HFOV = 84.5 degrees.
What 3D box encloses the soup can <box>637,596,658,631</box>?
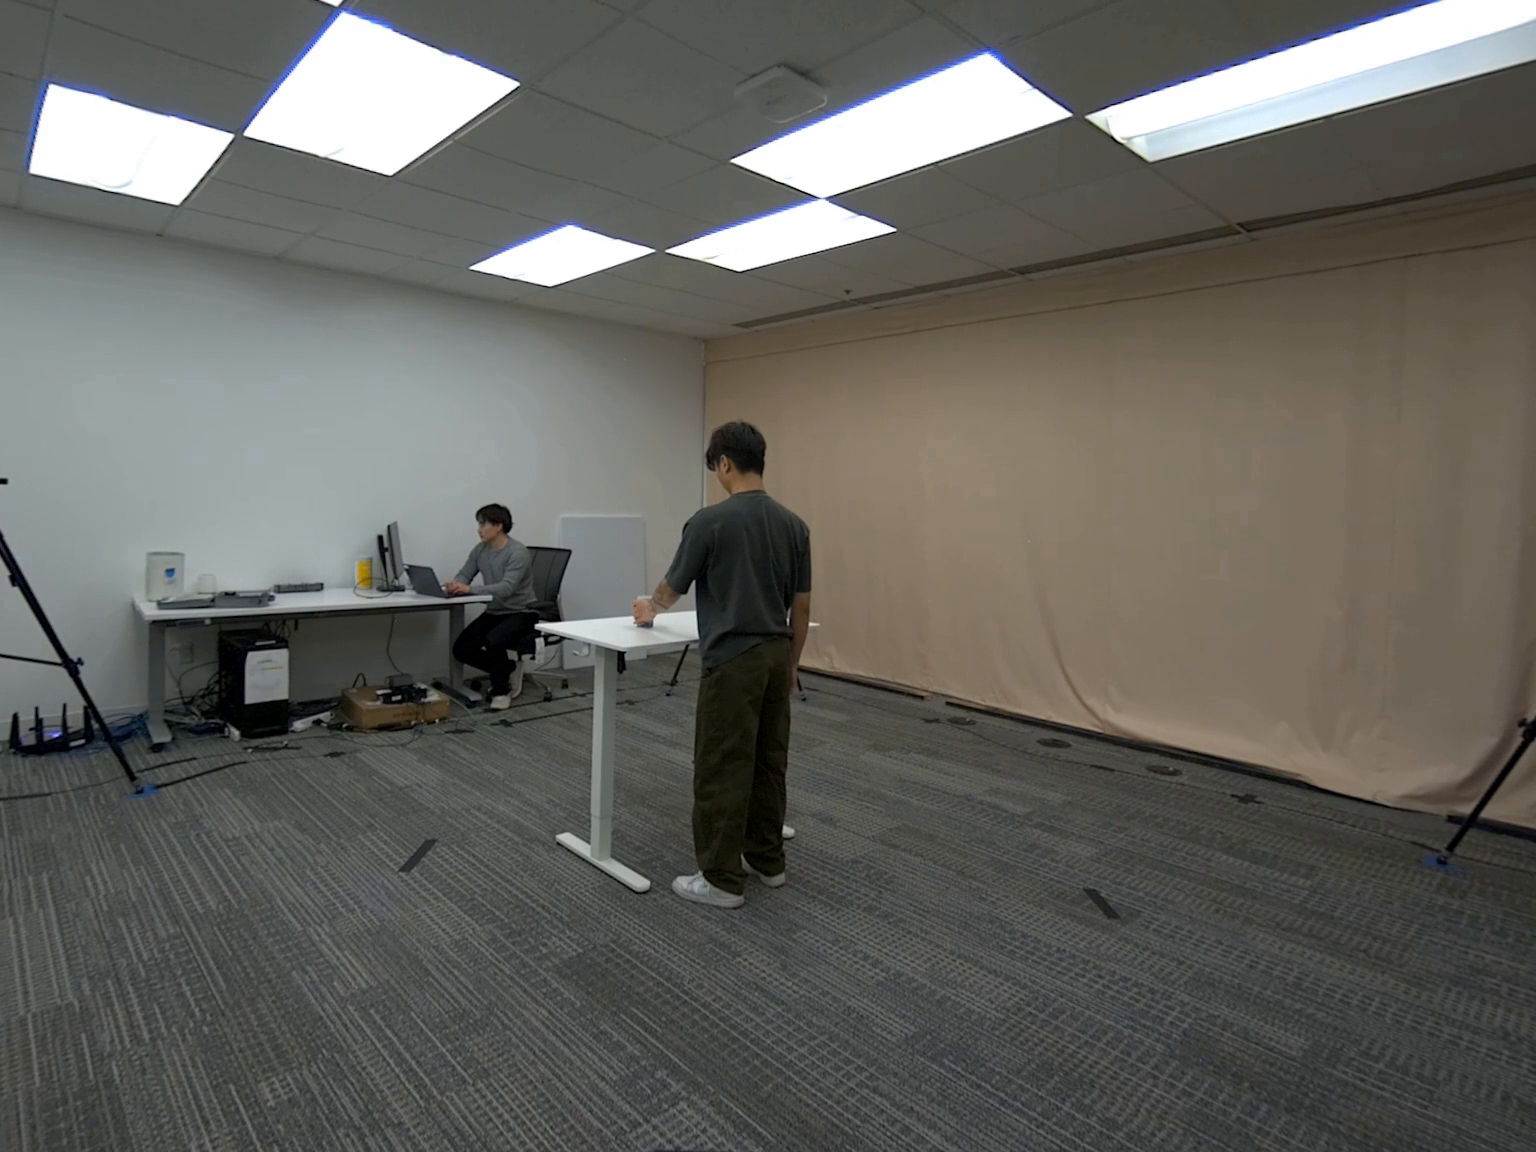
[{"bbox_3d":[-0.468,0.143,3.290,0.067,0.121,0.067,3,2,-2],"label":"soup can"}]
